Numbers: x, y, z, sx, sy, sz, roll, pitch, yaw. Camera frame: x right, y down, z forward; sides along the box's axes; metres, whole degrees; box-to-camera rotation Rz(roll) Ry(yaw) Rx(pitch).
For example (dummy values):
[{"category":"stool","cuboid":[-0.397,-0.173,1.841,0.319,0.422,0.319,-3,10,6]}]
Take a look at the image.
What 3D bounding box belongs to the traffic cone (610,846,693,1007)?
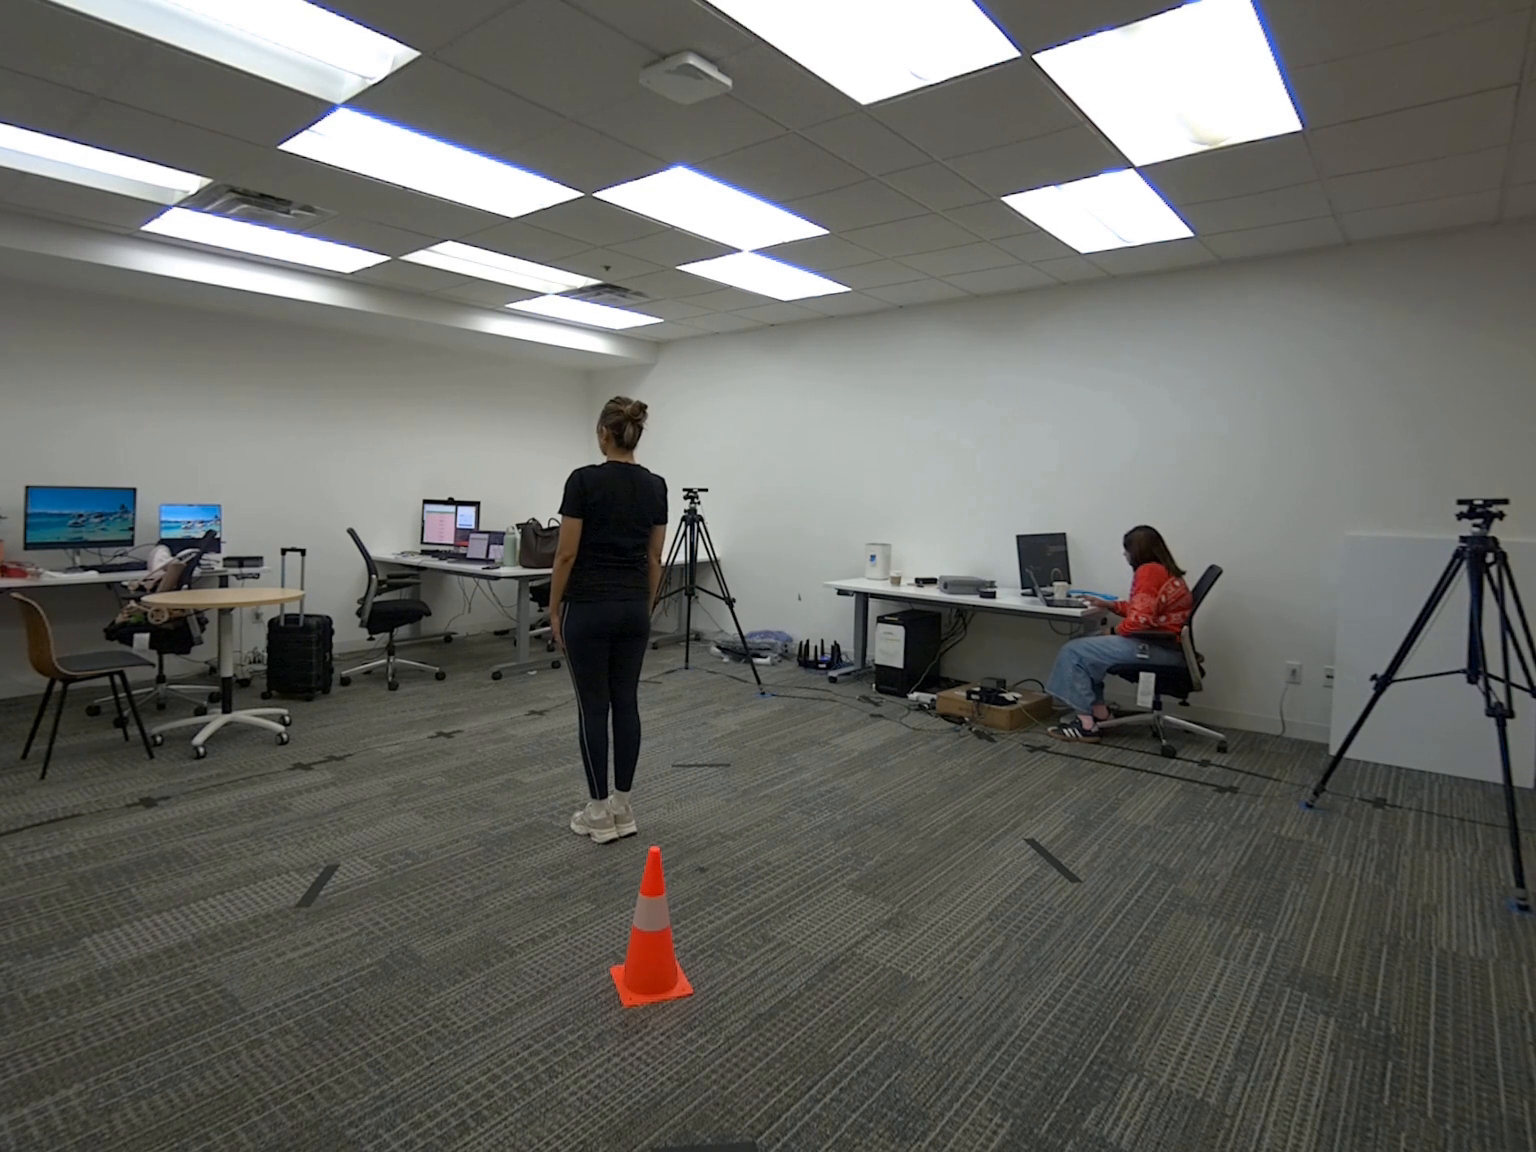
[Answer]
[{"category":"traffic cone","cuboid":[-0.331,0.956,2.377,0.199,0.382,0.210,-1,4,-25]}]
